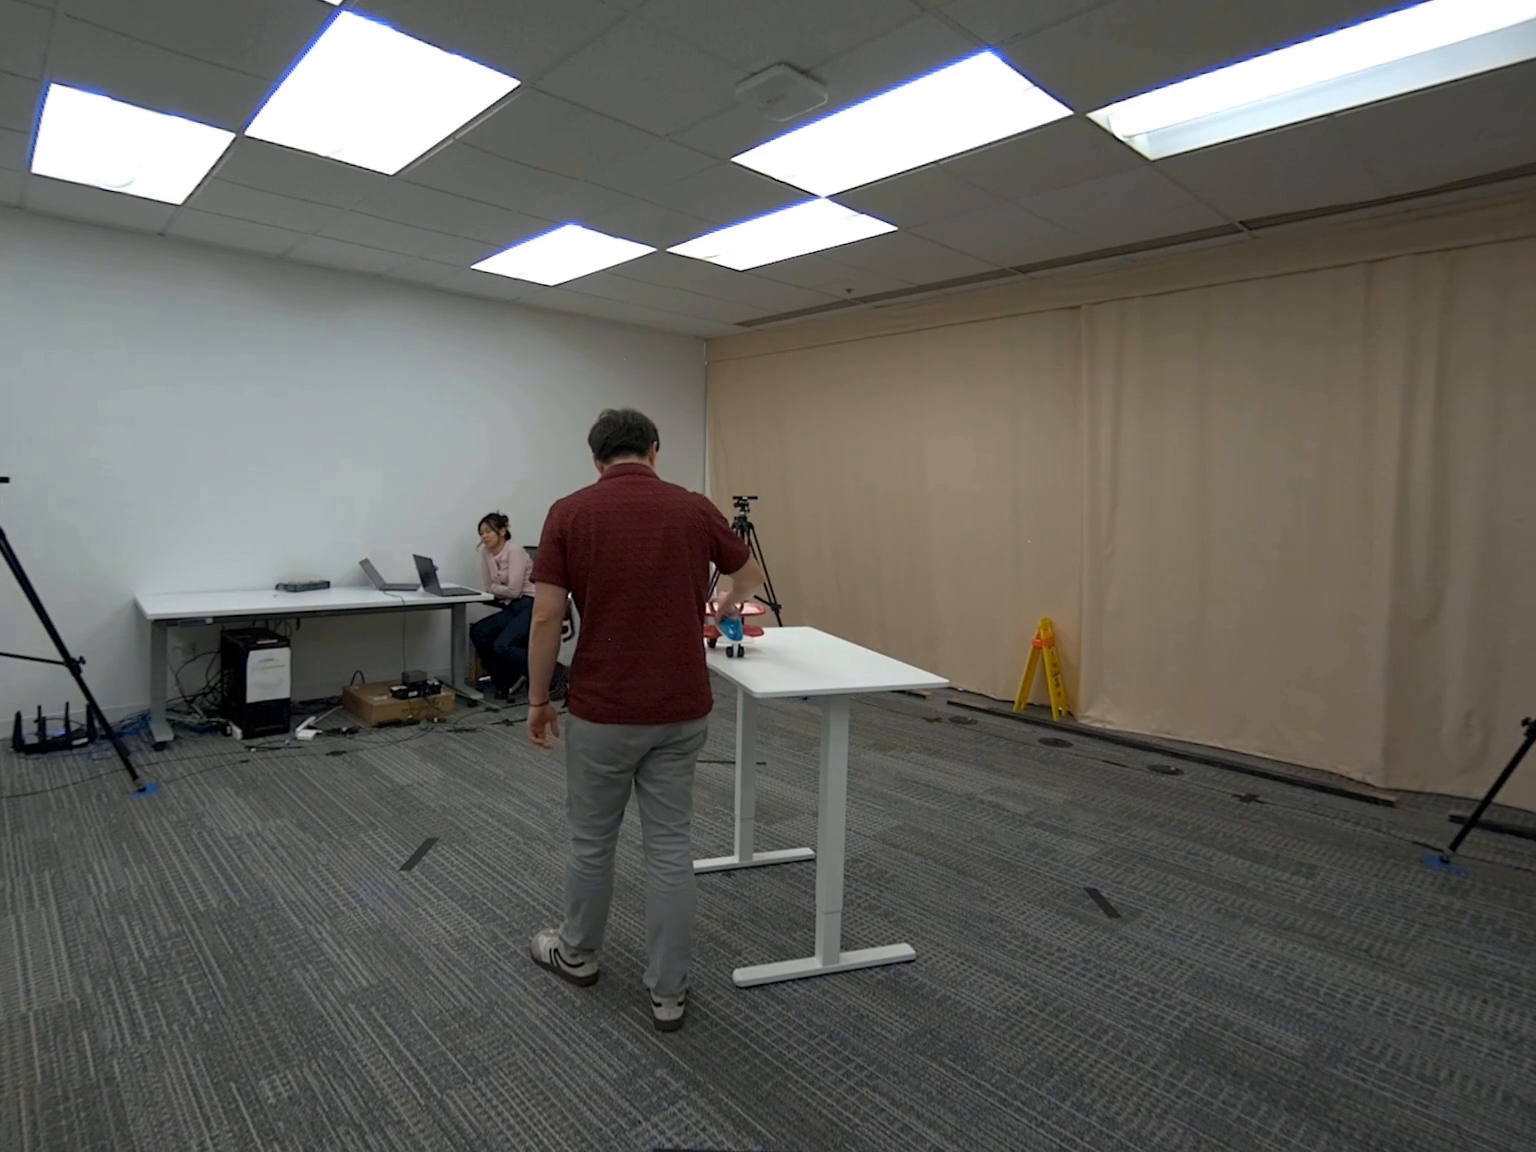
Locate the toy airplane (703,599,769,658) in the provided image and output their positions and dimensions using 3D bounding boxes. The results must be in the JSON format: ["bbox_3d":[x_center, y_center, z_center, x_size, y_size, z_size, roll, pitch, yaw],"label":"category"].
[{"bbox_3d":[-0.115,0.176,2.784,0.245,0.156,0.266,-5,6,-41],"label":"toy airplane"}]
